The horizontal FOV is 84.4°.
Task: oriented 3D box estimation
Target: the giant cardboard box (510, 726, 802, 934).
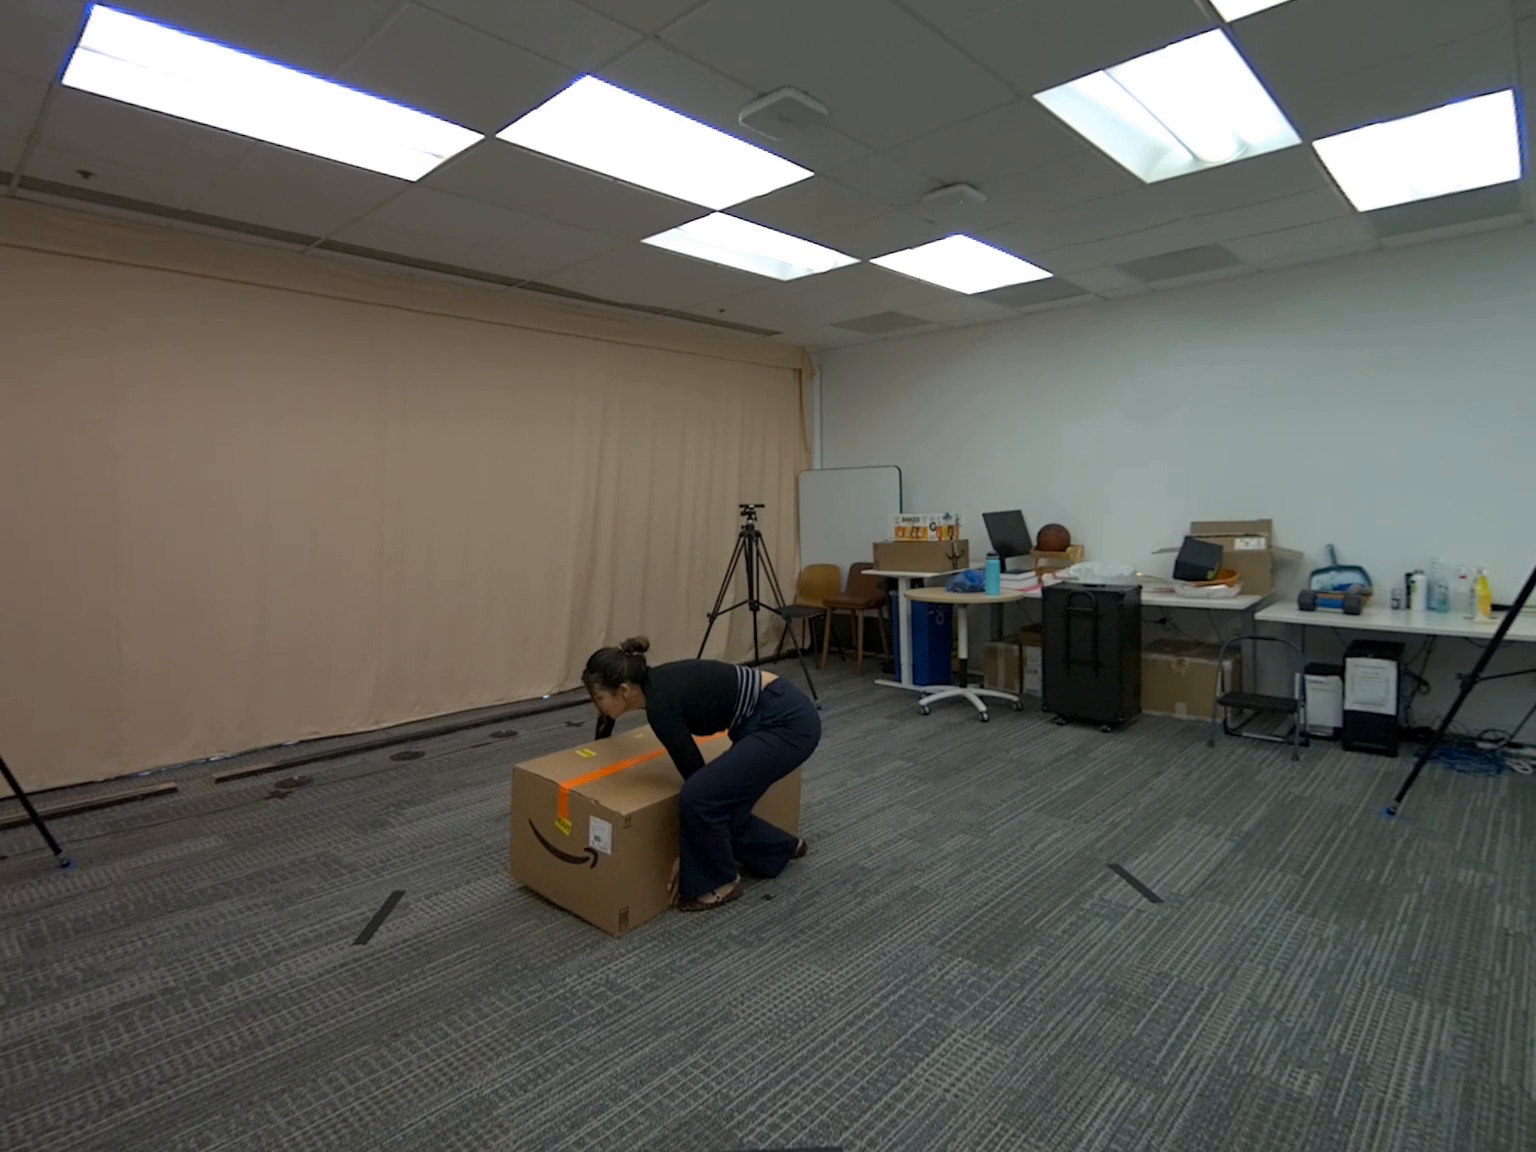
[{"bbox_3d":[-0.400,0.892,3.269,0.597,0.424,0.996,7,9,38],"label":"giant cardboard box"}]
